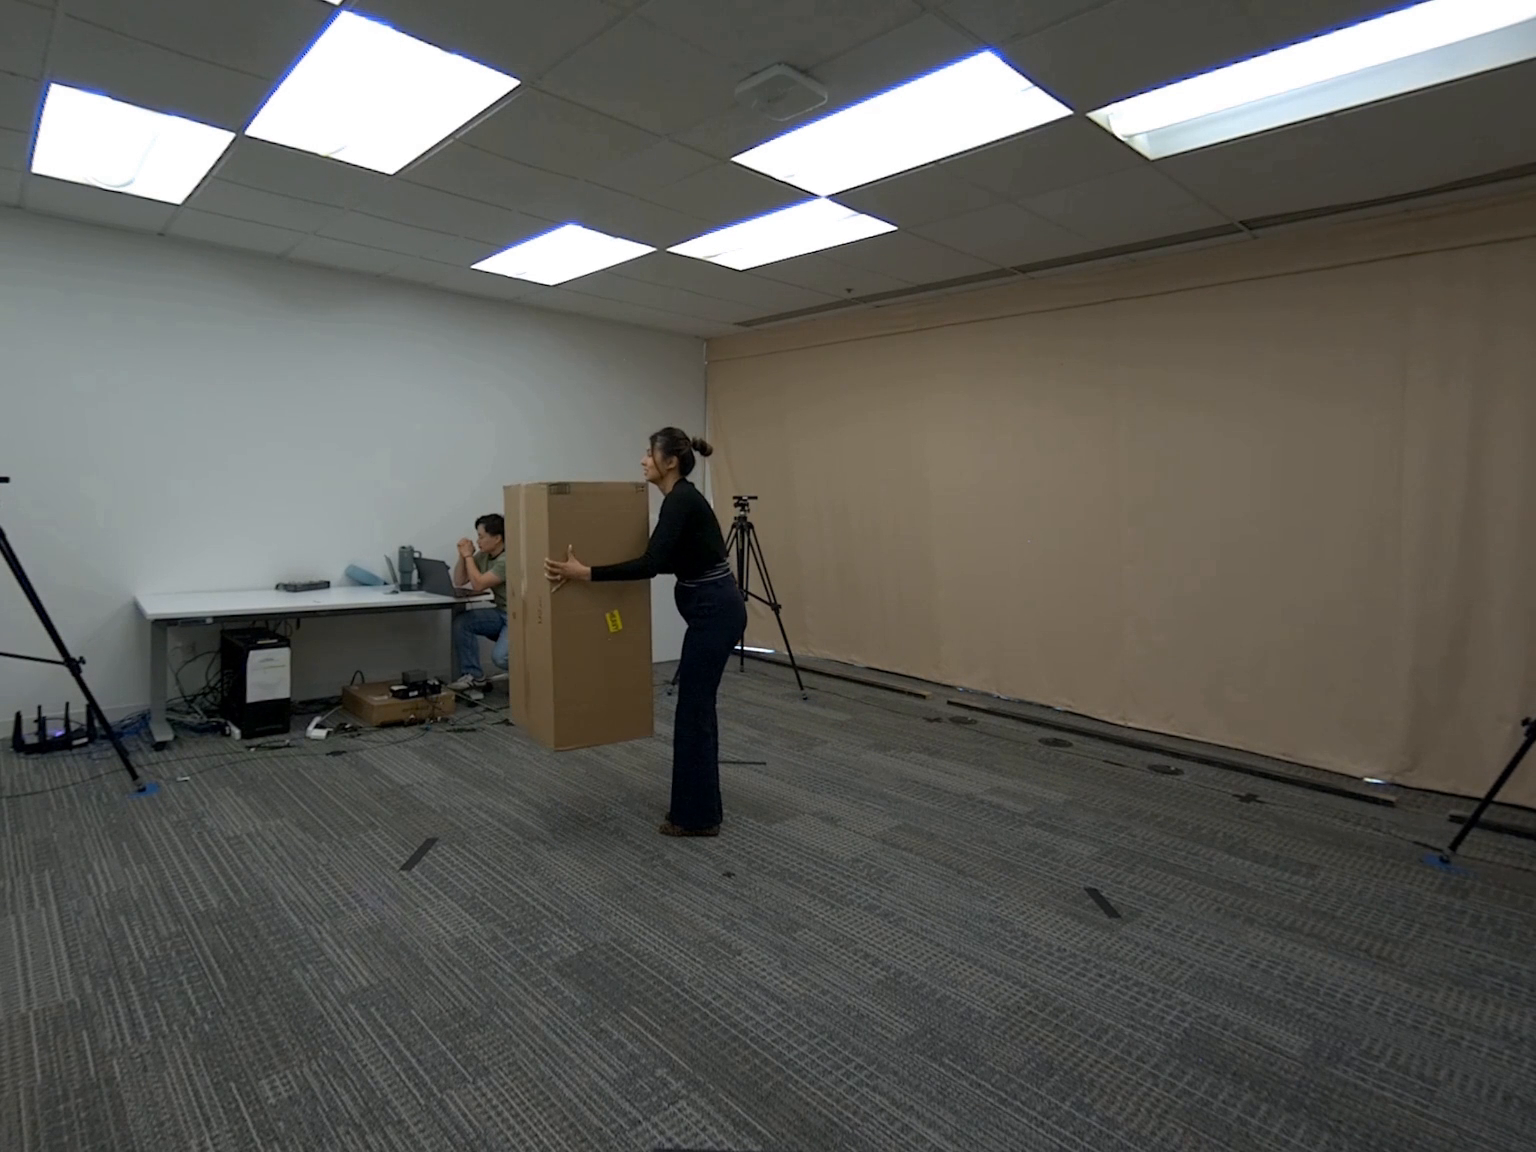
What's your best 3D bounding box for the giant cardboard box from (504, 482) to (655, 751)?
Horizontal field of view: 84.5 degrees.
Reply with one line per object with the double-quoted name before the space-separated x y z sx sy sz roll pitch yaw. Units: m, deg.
"giant cardboard box" -0.801 0.132 3.503 0.417 1.023 0.591 -3 4 -32
